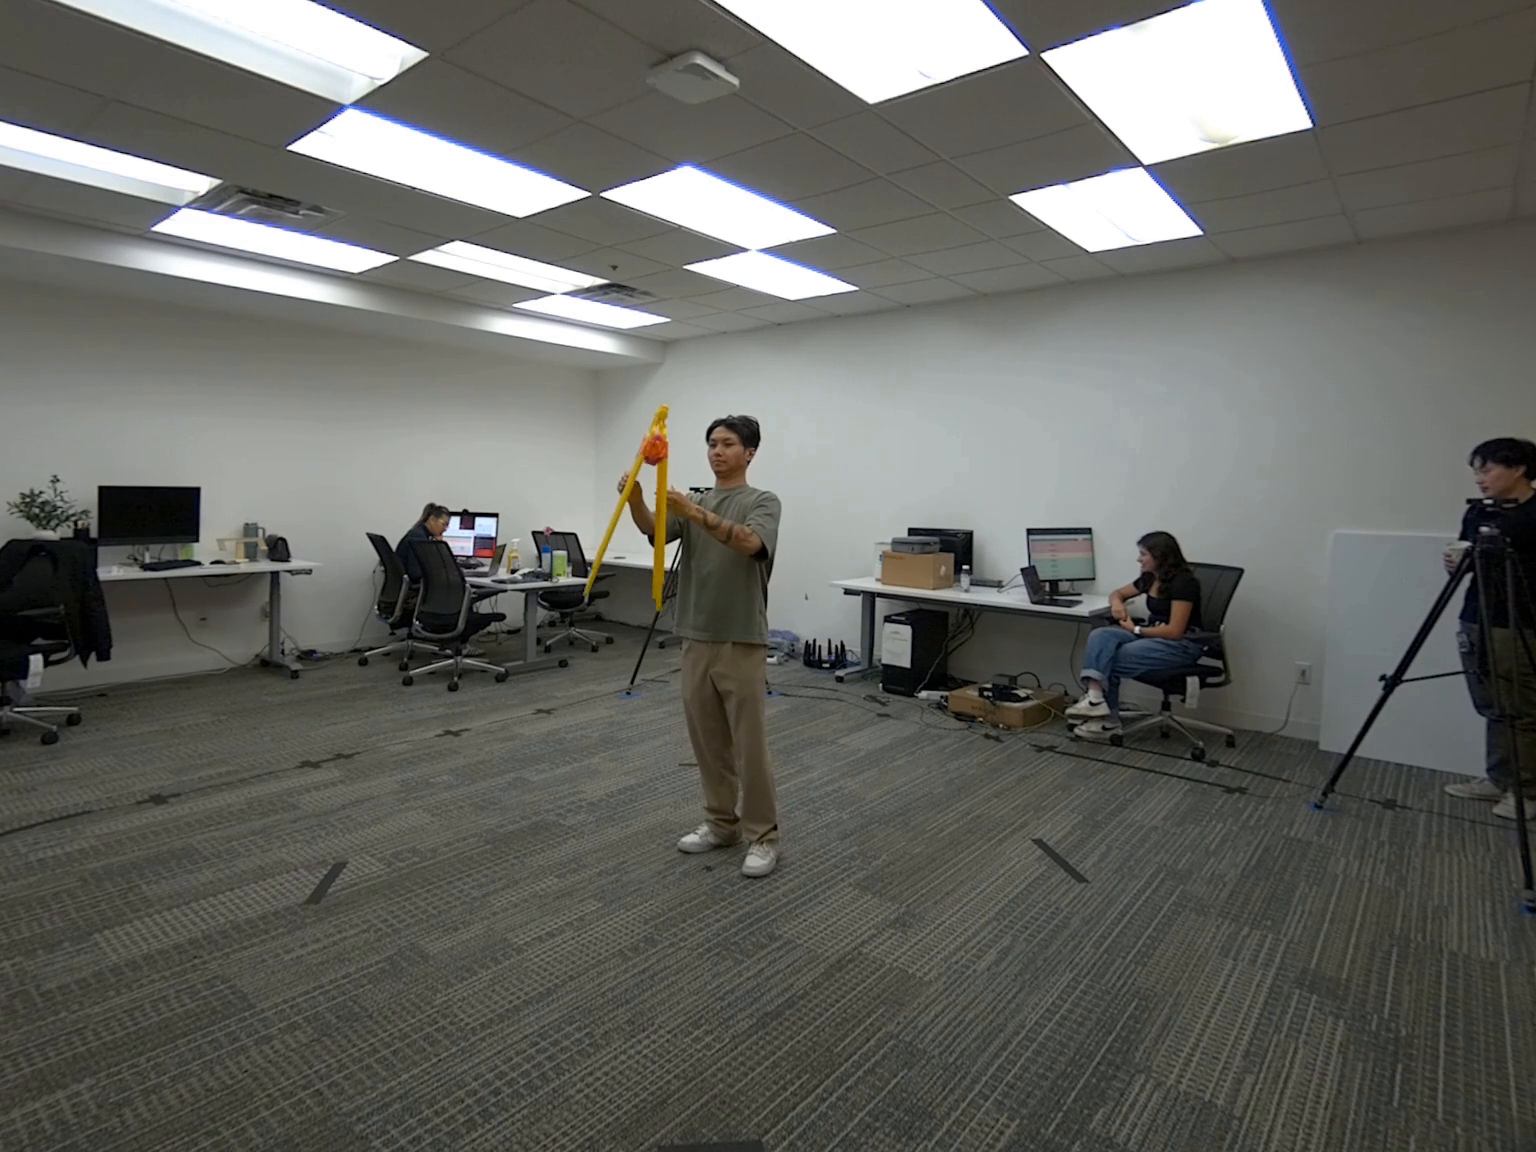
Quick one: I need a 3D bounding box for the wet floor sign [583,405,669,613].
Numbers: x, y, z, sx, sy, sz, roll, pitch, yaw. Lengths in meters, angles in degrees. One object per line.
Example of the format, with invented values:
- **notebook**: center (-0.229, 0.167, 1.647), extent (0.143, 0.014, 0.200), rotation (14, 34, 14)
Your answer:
- **wet floor sign**: center (-0.421, -0.252, 2.831), extent (0.286, 0.642, 0.287), rotation (12, 9, -11)
